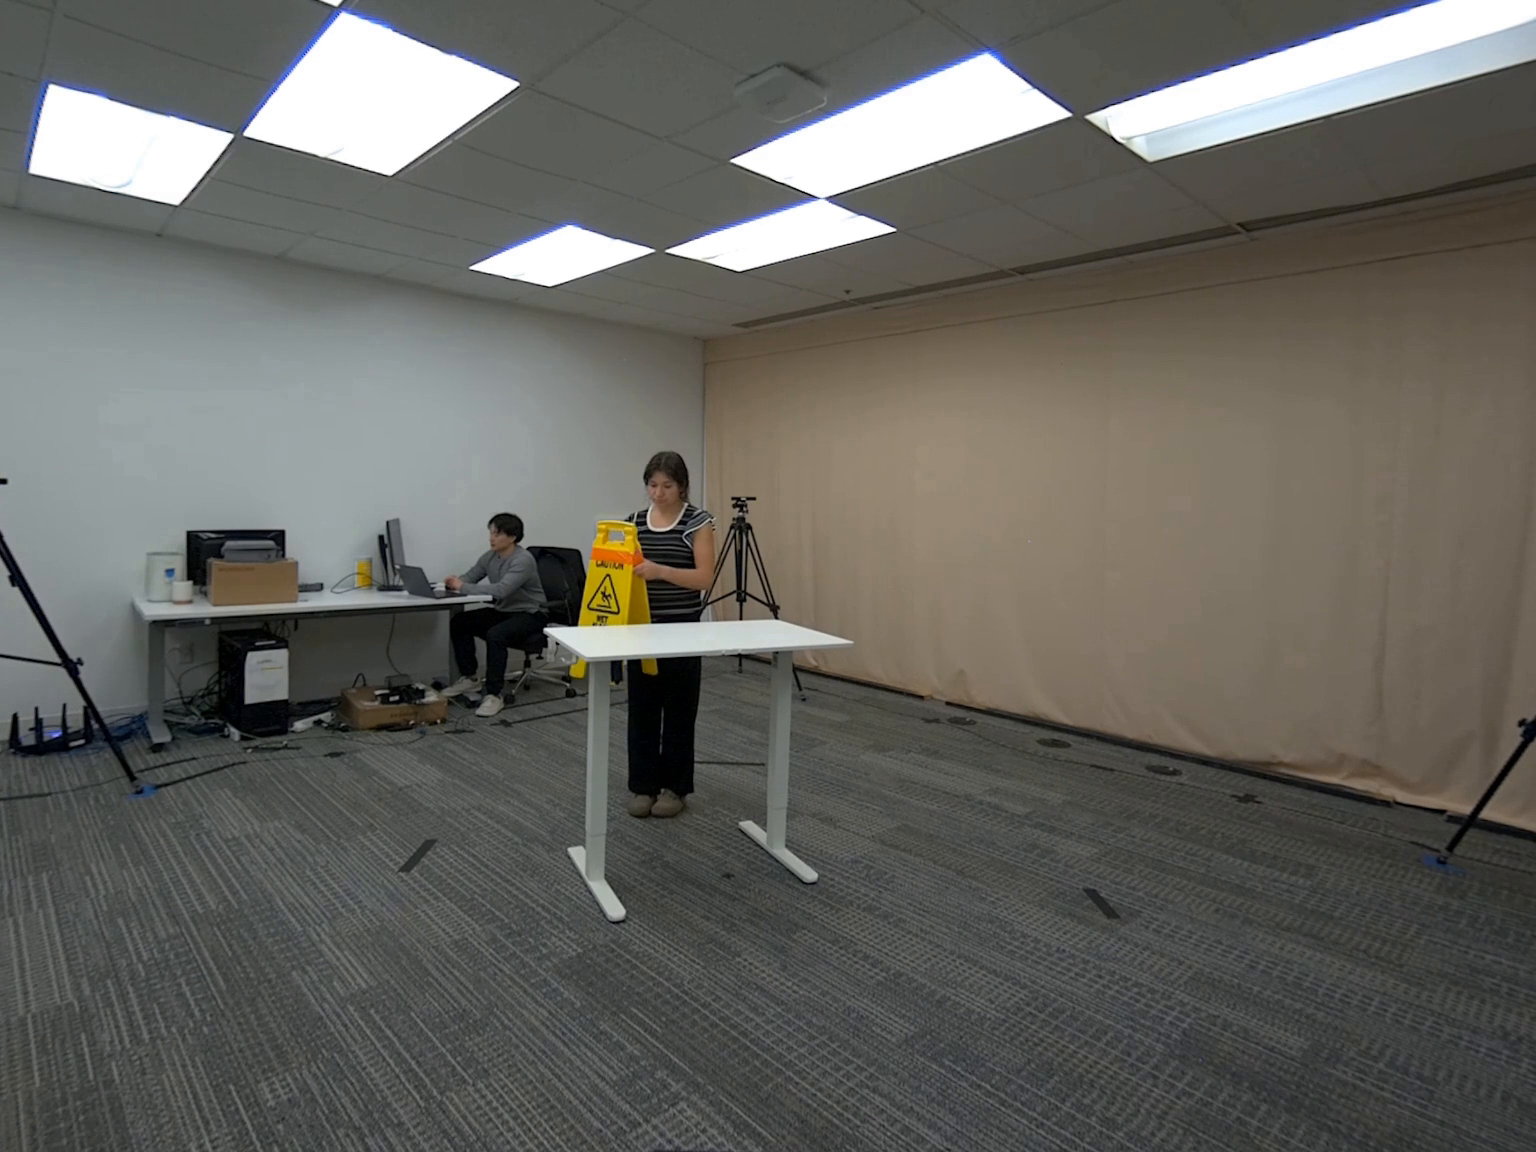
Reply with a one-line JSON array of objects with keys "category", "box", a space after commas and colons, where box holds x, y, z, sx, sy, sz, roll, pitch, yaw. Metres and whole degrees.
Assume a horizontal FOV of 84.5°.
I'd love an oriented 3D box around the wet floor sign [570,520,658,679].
[{"category": "wet floor sign", "box": [-0.655, 0.096, 3.527, 0.289, 0.643, 0.284, 5, 7, 31]}]
